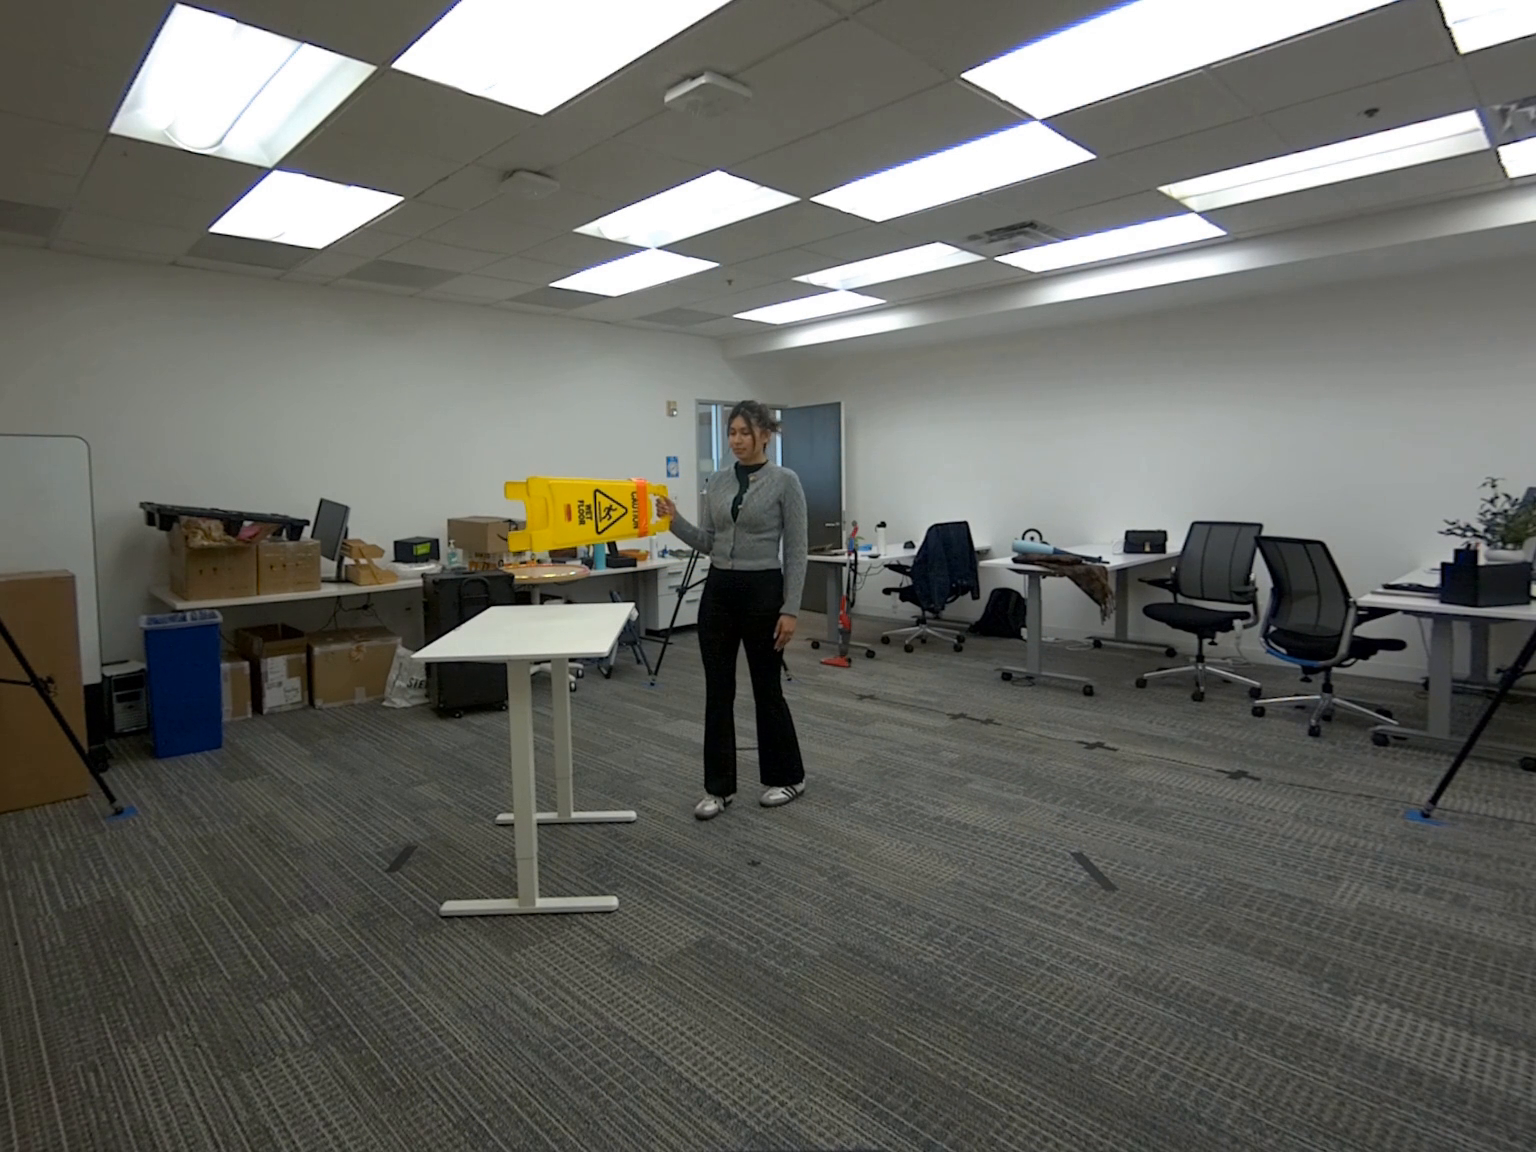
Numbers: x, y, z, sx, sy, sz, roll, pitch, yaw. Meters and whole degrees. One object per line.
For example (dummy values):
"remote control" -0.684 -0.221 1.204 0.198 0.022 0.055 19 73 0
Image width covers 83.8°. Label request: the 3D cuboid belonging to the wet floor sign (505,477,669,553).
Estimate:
"wet floor sign" -0.684 -0.255 3.413 0.631 0.281 0.297 -6 4 -31
